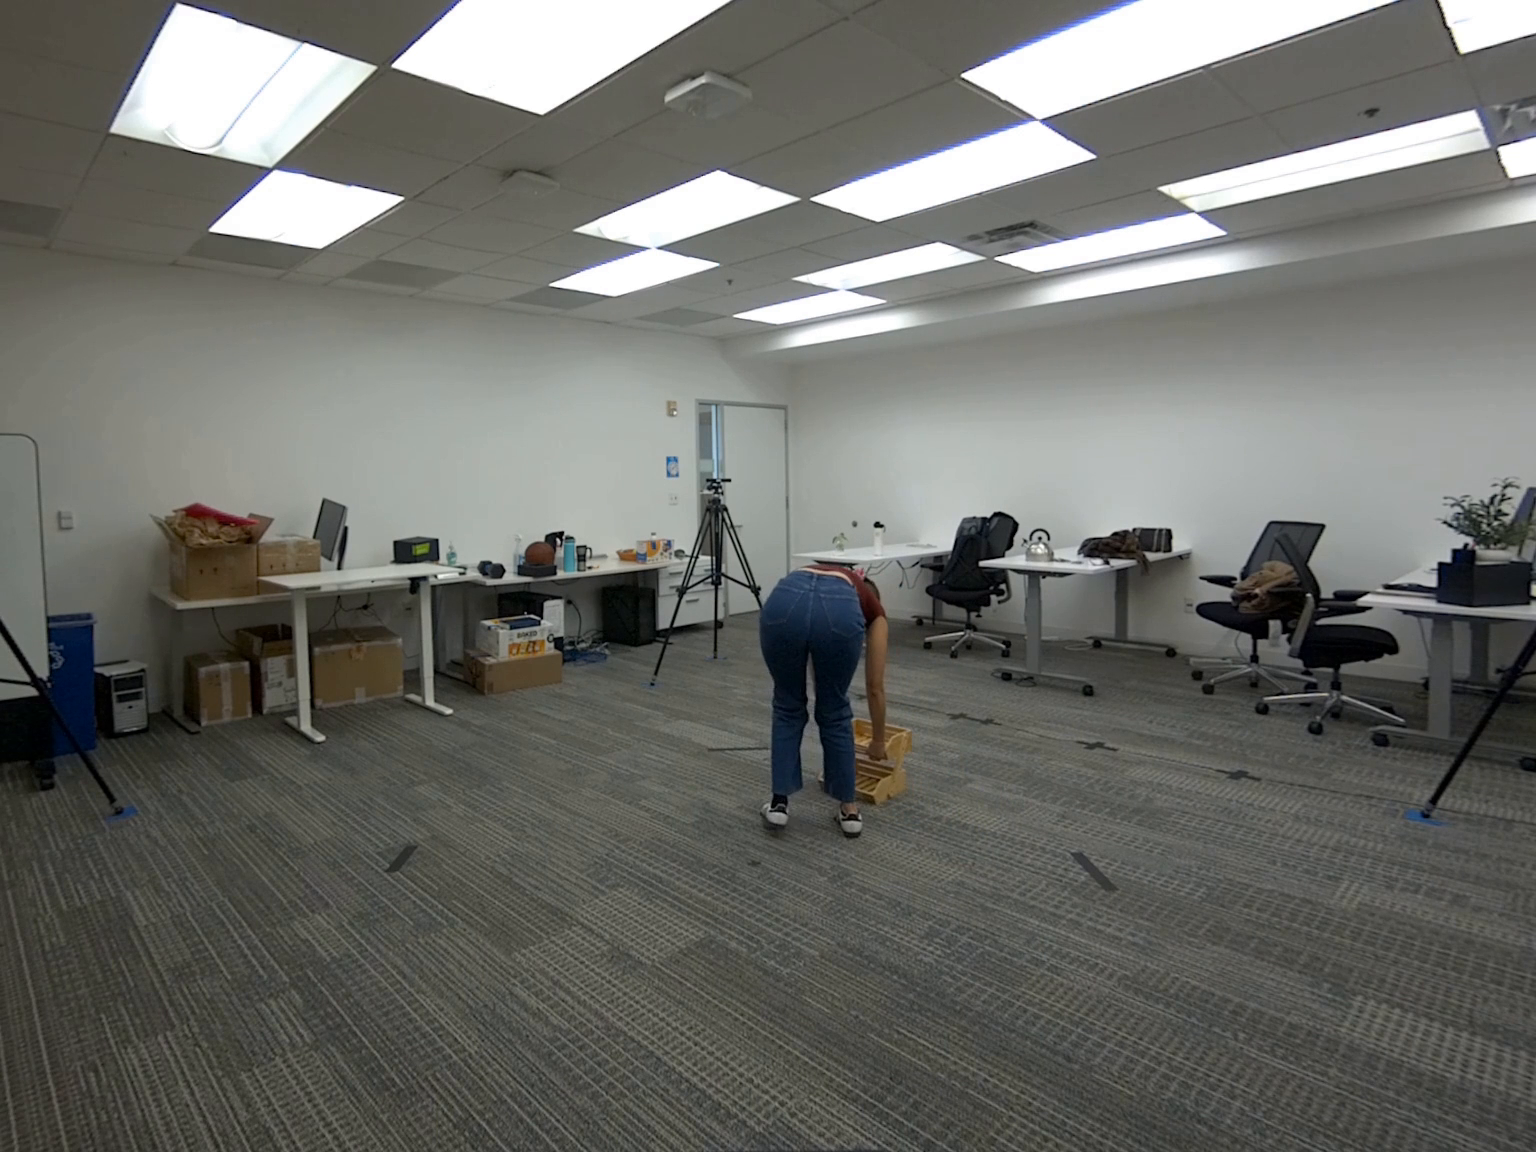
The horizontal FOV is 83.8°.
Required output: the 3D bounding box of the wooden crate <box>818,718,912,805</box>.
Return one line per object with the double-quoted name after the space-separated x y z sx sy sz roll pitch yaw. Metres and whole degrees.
0.431 0.818 3.832 0.334 0.272 0.294 4 7 43 "wooden crate"
